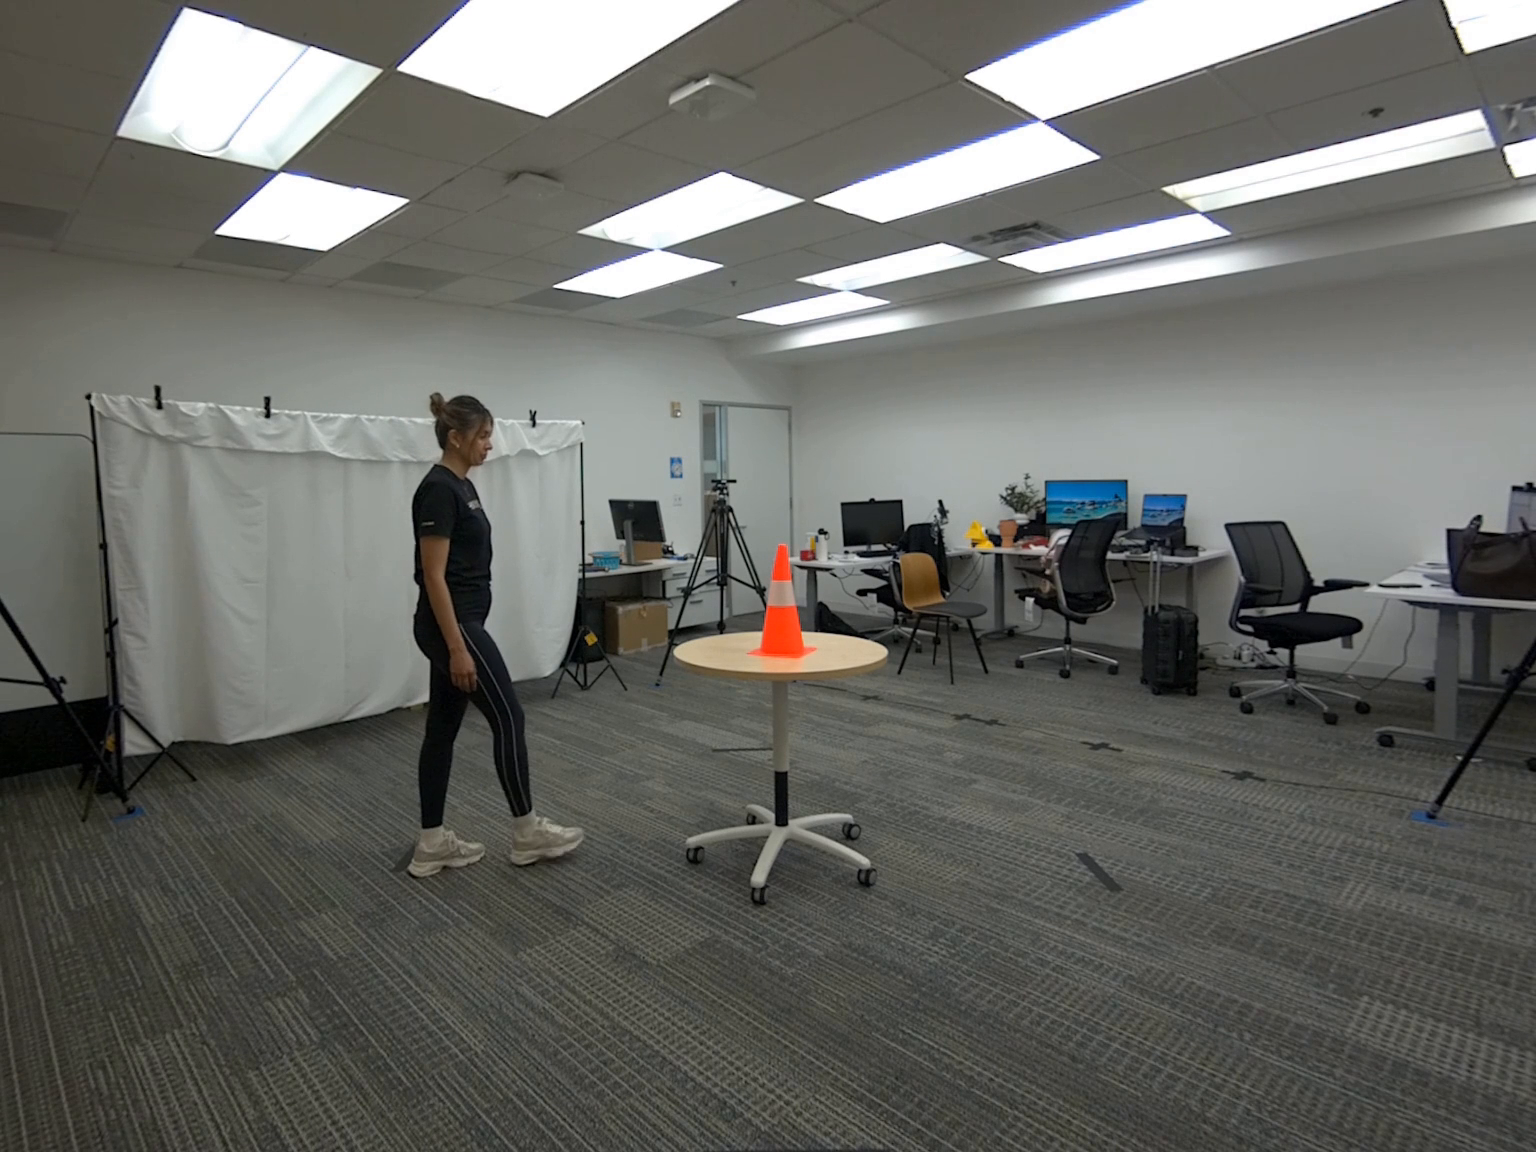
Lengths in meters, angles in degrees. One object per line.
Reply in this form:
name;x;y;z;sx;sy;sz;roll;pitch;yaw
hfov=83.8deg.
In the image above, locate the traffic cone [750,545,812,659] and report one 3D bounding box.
traffic cone;0.048;0.084;3.030;0.209;0.382;0.200;2;5;23
